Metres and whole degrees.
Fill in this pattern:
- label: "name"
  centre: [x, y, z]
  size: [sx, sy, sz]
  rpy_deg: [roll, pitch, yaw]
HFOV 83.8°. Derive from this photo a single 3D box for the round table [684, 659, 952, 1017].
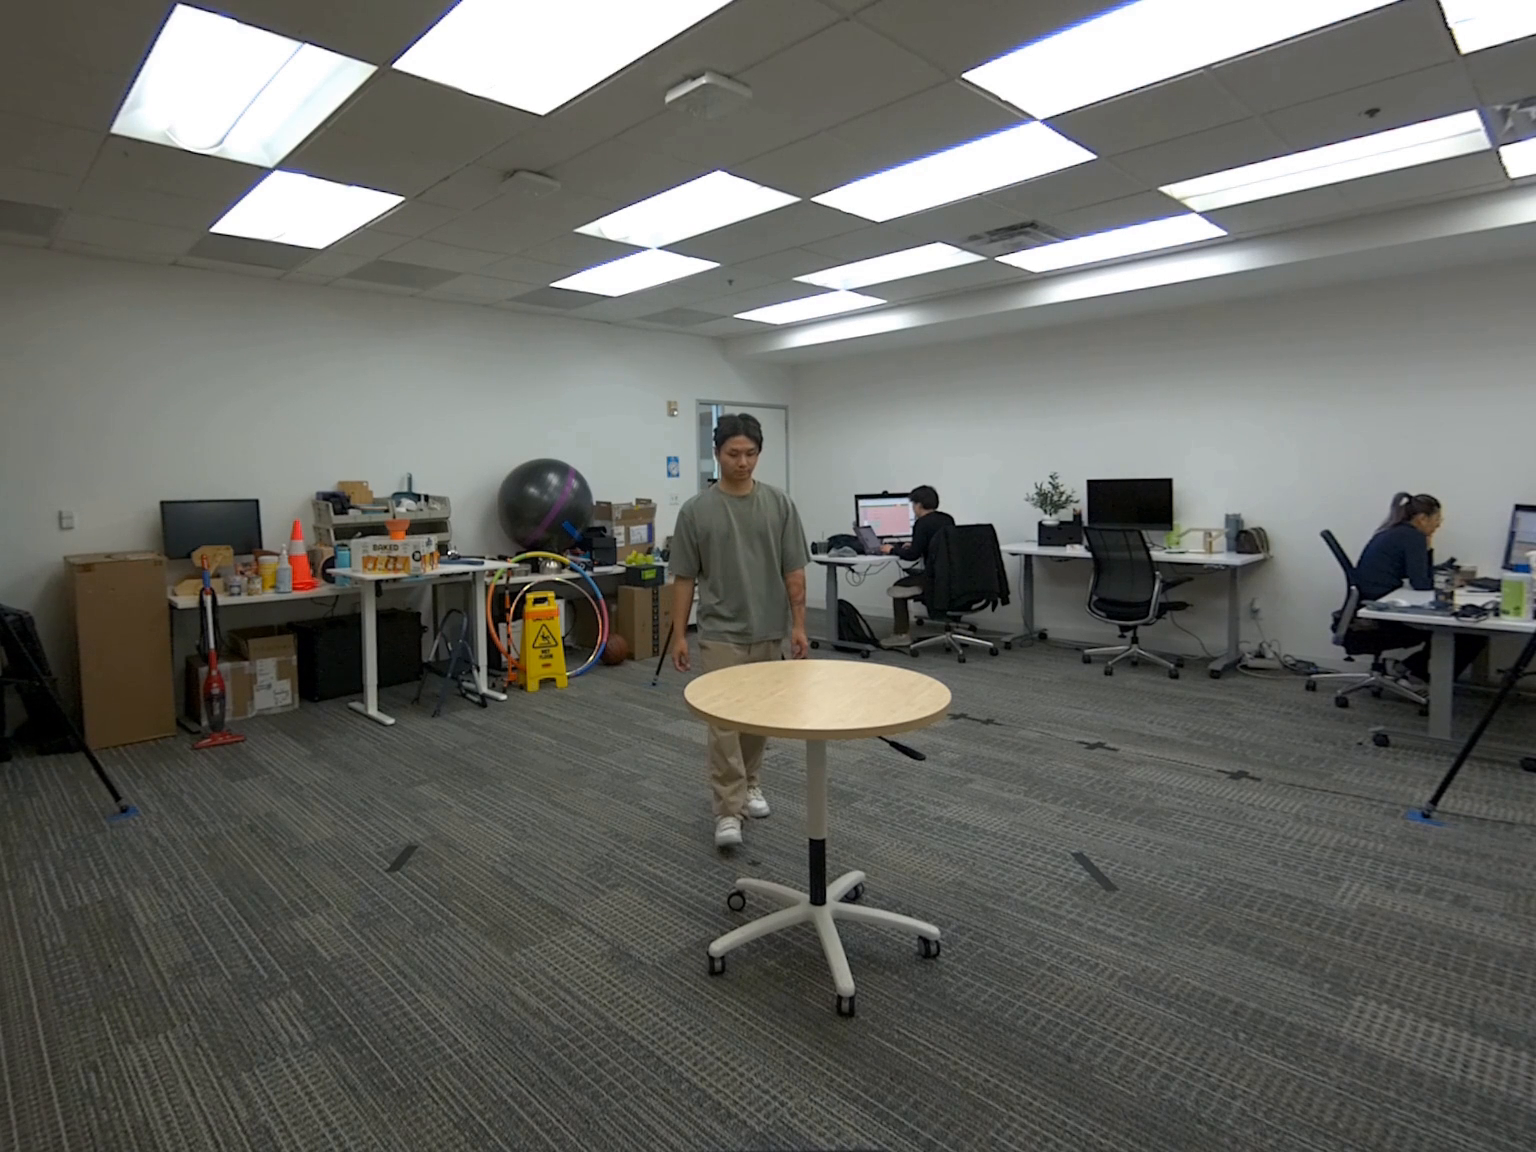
- label: "round table"
  centre: [0.157, 0.720, 2.513]
  size: [0.784, 0.783, 0.789]
  rpy_deg: [-1, 5, -2]
